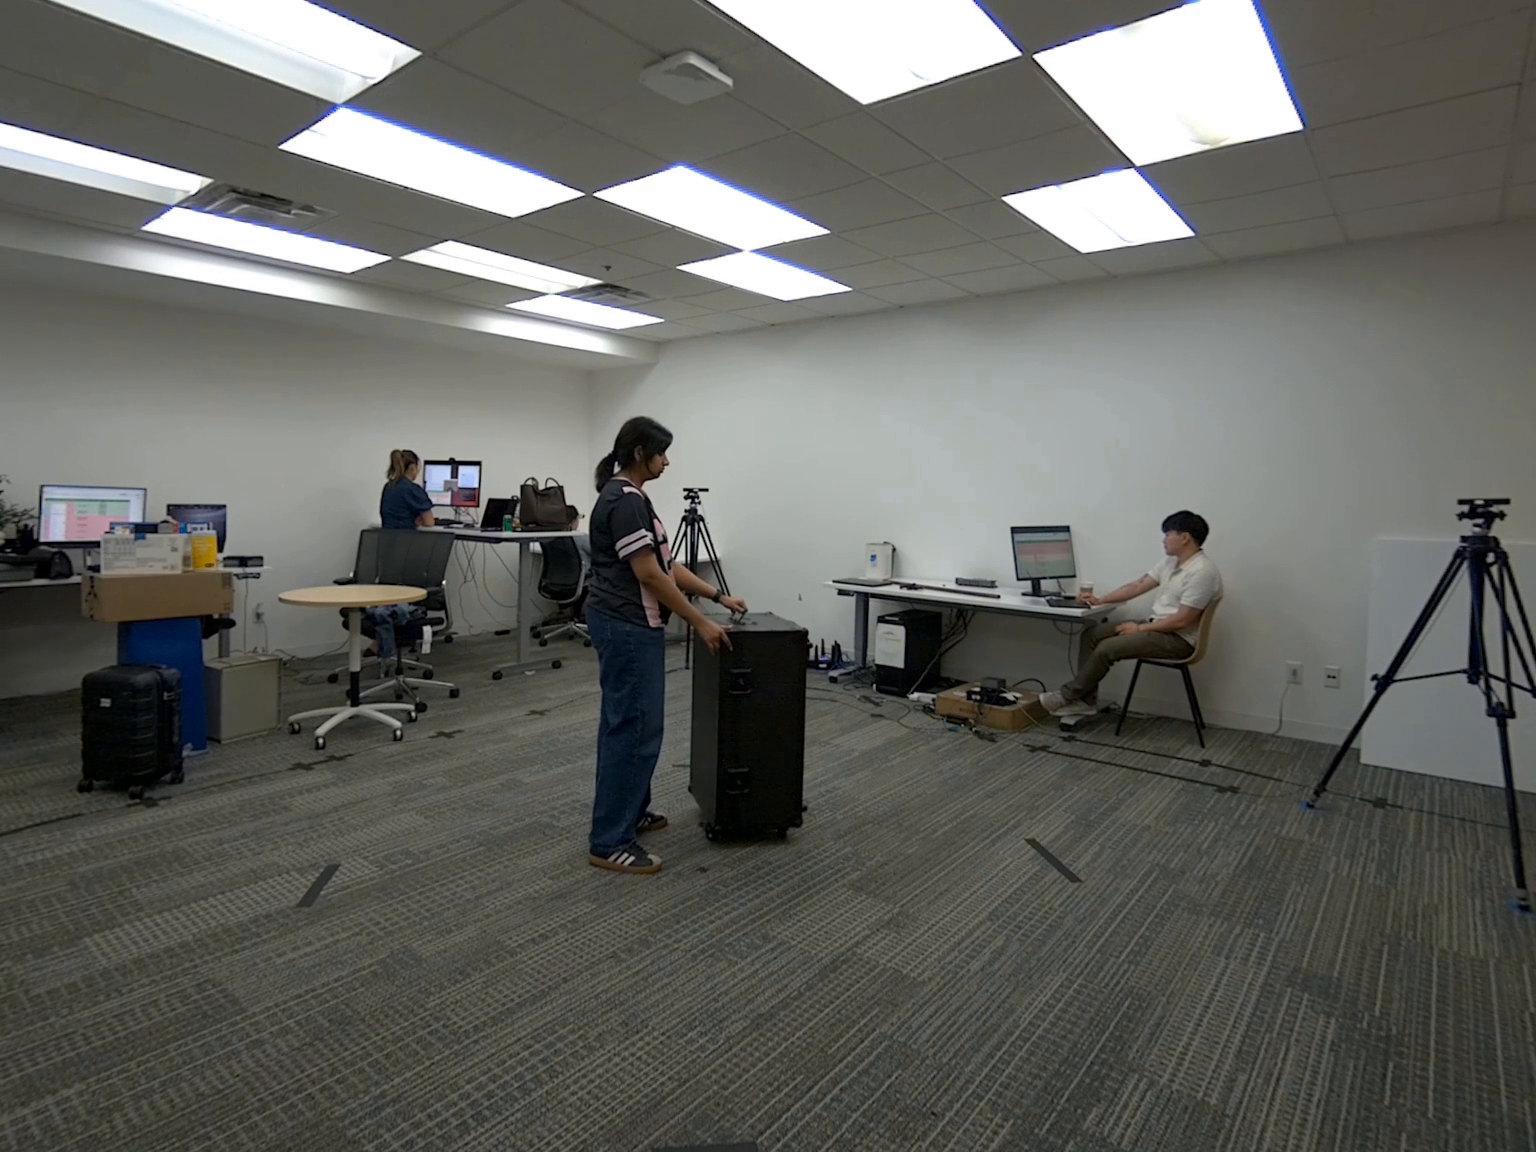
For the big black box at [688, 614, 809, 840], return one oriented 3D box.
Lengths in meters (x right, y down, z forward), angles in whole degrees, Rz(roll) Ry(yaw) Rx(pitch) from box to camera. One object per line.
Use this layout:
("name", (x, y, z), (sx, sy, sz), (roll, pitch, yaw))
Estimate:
("big black box", (-0.106, 0.610, 3.516), (0.379, 0.866, 0.534), (1, 4, -17))
